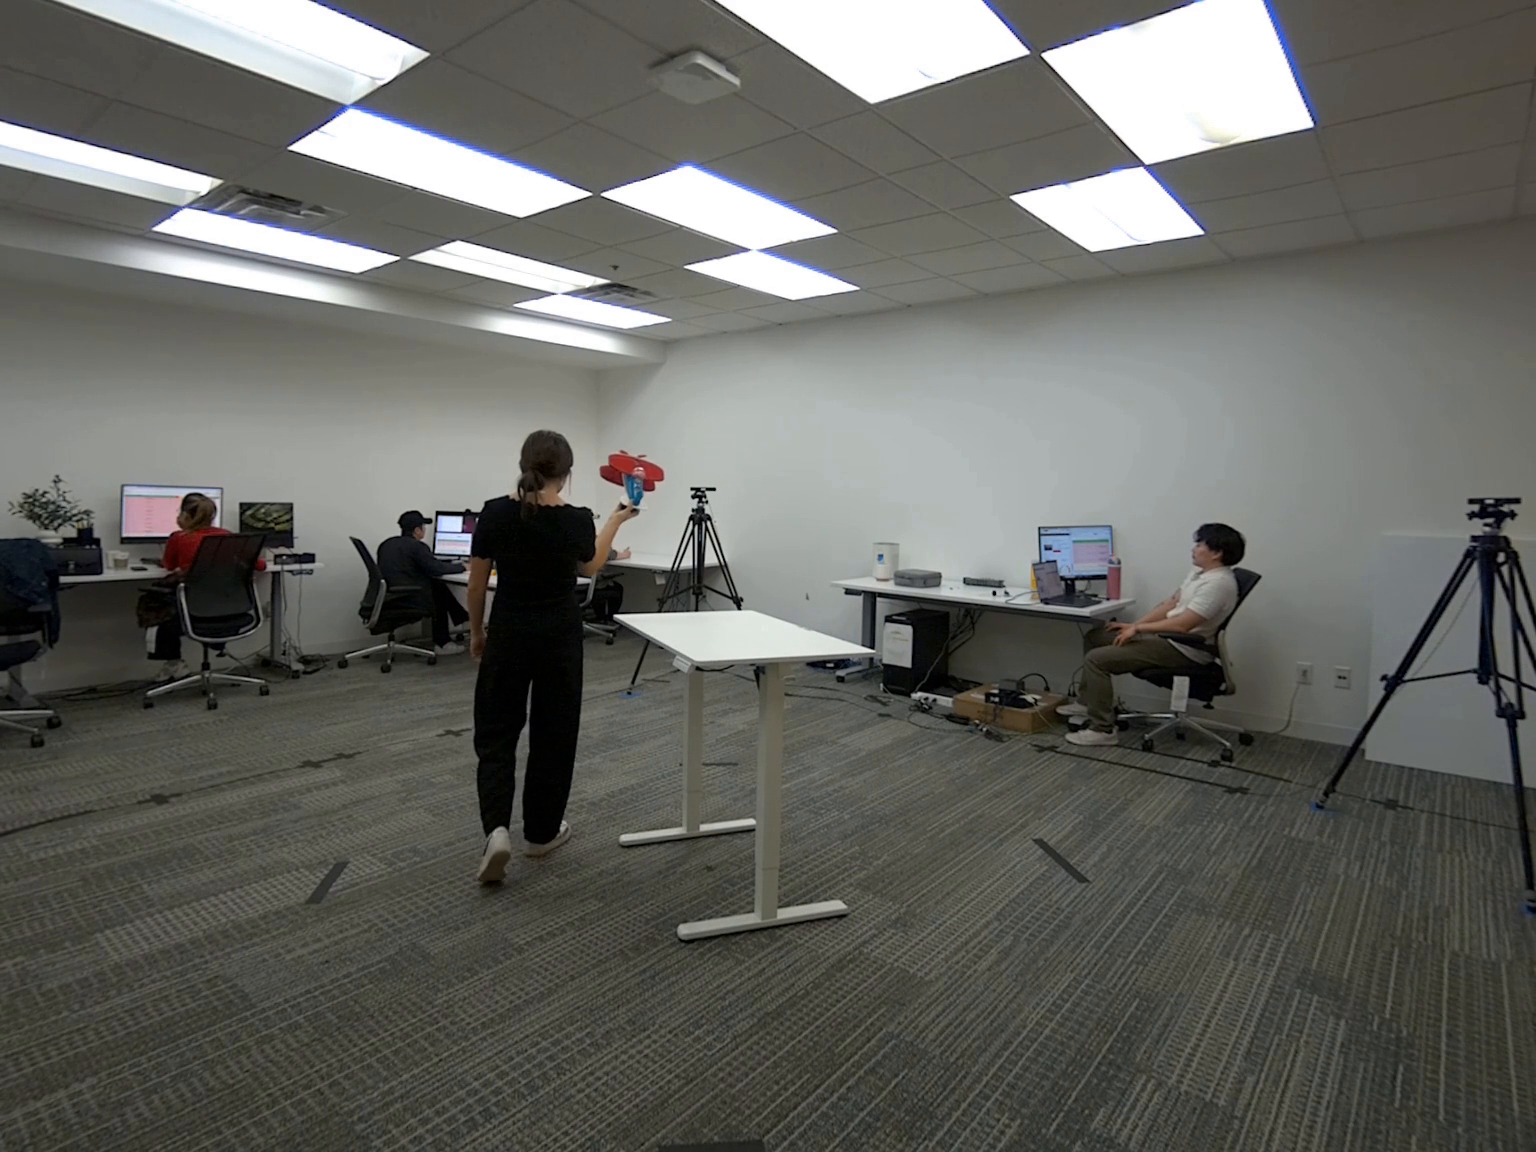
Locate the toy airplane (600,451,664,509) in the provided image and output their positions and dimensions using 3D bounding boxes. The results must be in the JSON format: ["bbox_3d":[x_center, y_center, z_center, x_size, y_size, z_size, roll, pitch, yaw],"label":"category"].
[{"bbox_3d":[-0.561,-0.380,3.486,0.267,0.155,0.245,47,34,21],"label":"toy airplane"}]
